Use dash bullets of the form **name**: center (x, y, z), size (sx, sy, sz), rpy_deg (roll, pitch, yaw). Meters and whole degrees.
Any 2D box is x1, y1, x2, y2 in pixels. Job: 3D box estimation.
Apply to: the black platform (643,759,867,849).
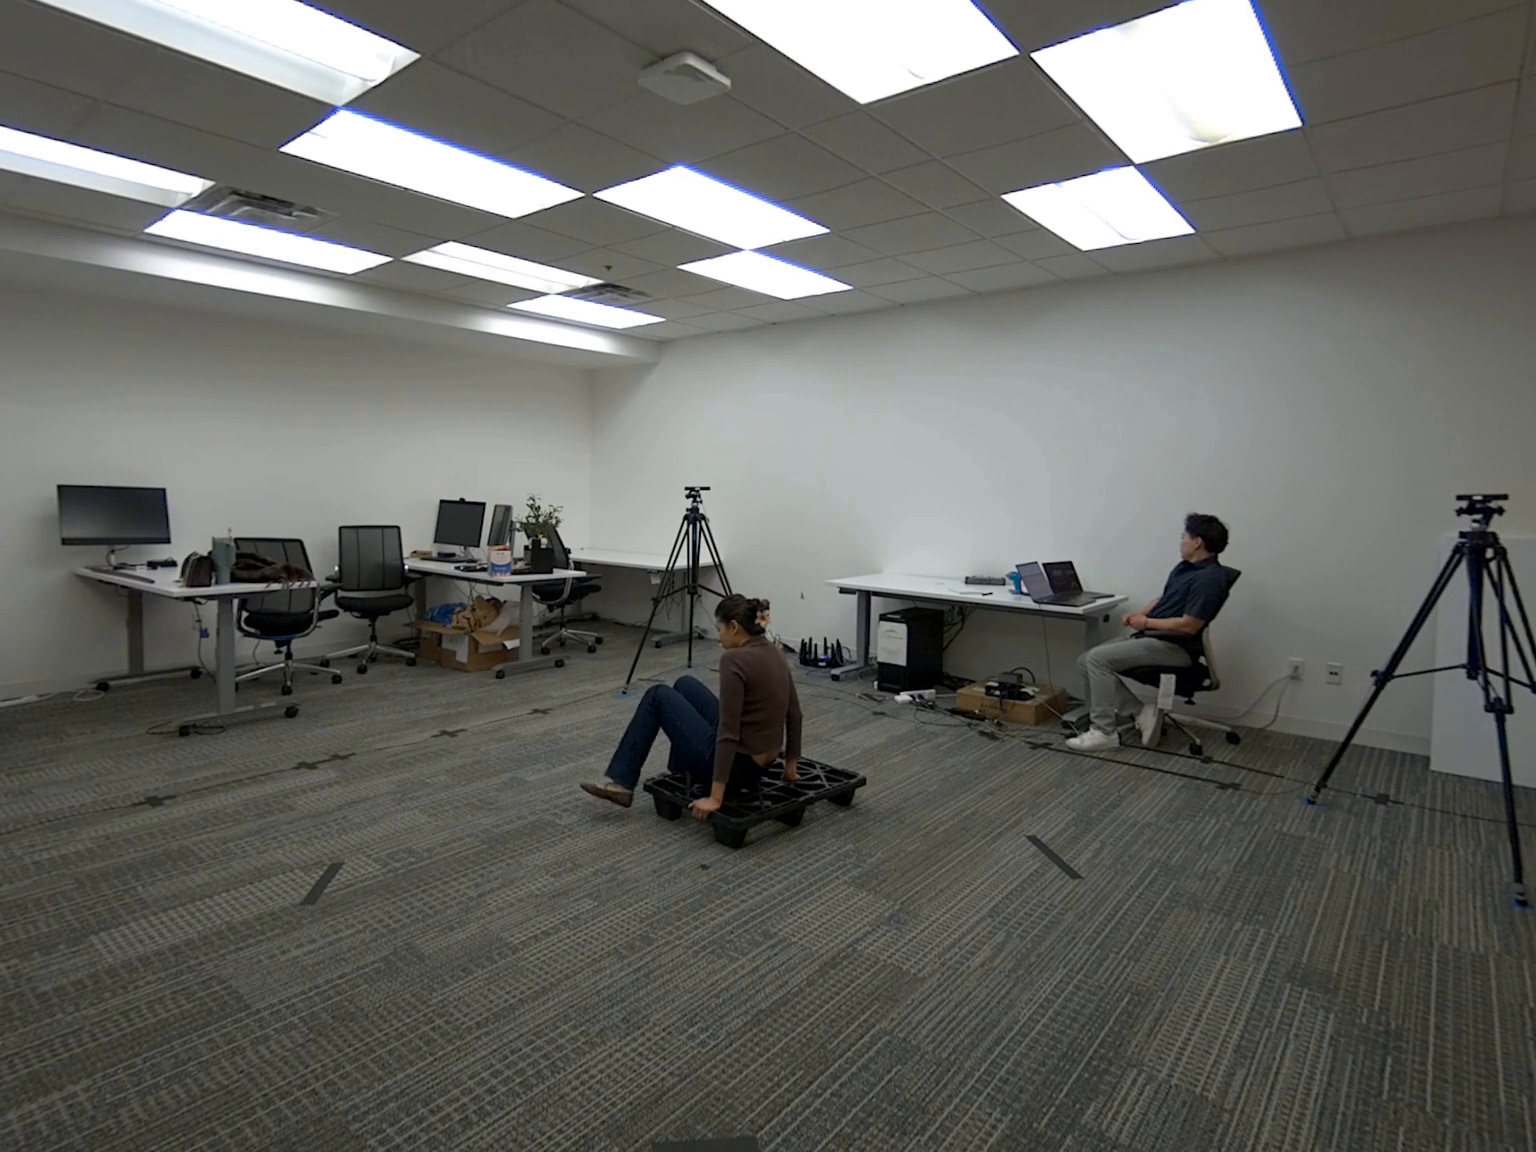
- **black platform**: center (-0.055, 0.944, 3.688), size (0.782, 0.143, 0.626), rpy_deg (-5, 8, -44)
